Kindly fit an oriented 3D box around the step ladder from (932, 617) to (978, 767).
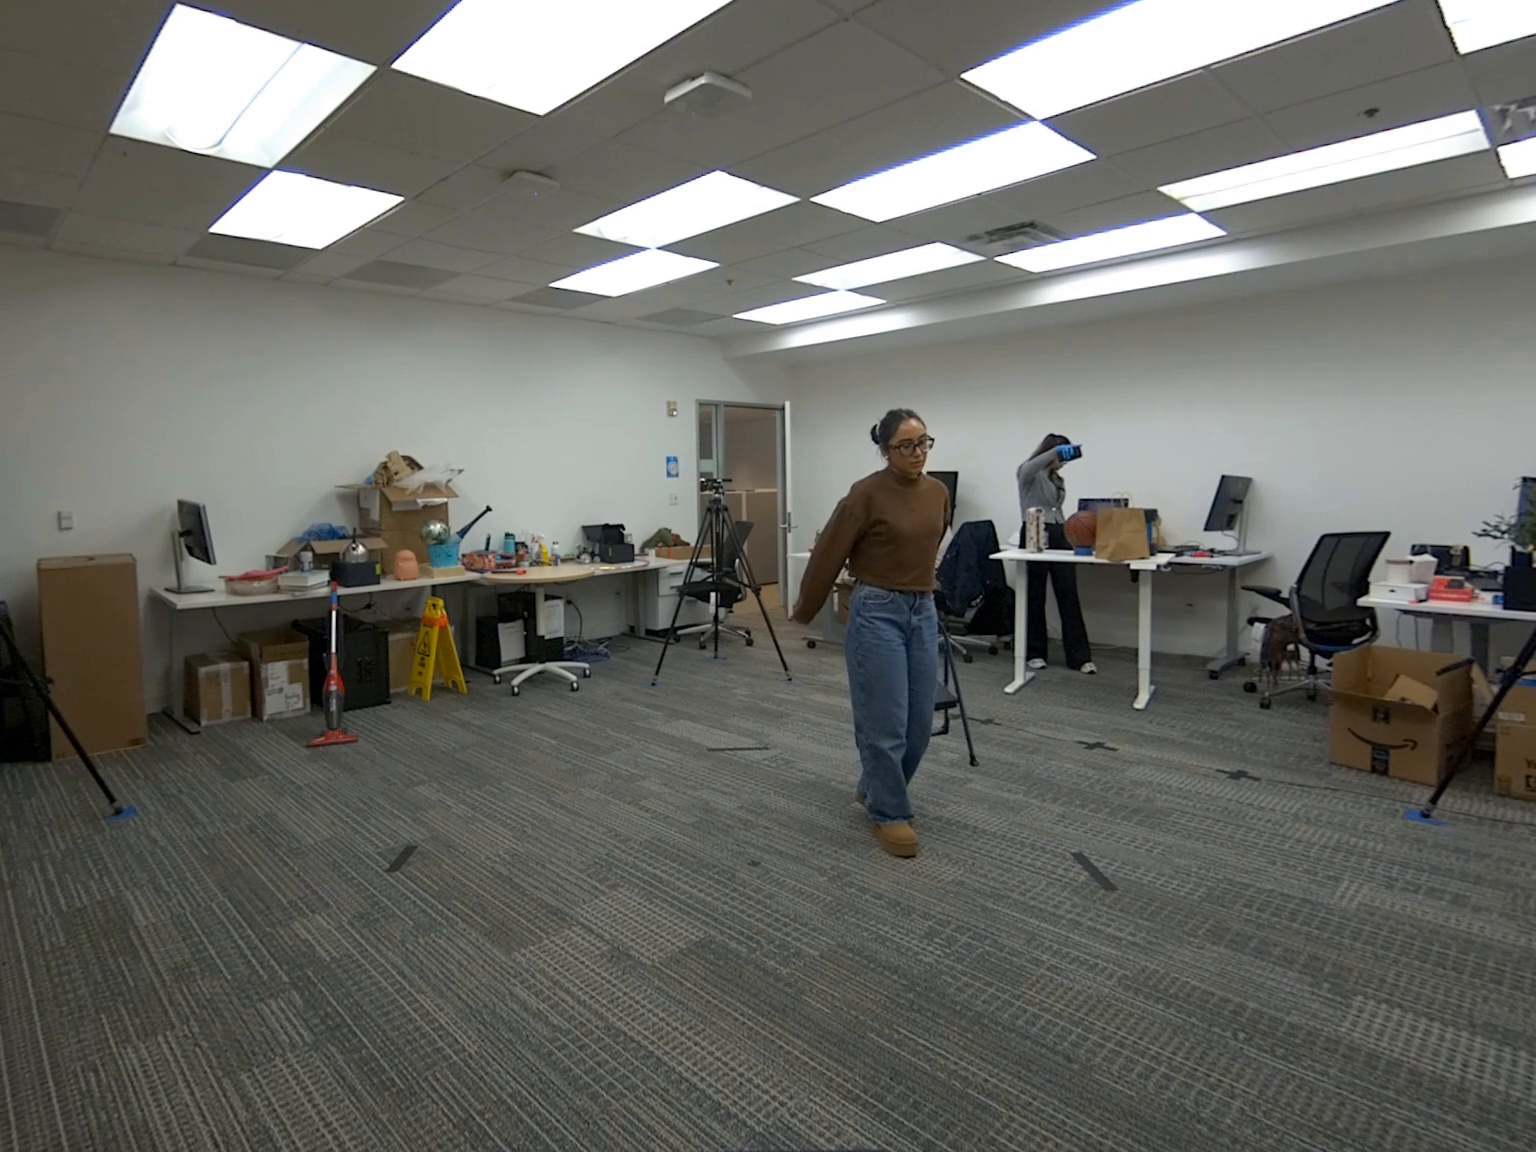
[{"bbox_3d":[0.586,0.464,3.529,0.428,0.599,0.355,-8,11,-7],"label":"step ladder"}]
